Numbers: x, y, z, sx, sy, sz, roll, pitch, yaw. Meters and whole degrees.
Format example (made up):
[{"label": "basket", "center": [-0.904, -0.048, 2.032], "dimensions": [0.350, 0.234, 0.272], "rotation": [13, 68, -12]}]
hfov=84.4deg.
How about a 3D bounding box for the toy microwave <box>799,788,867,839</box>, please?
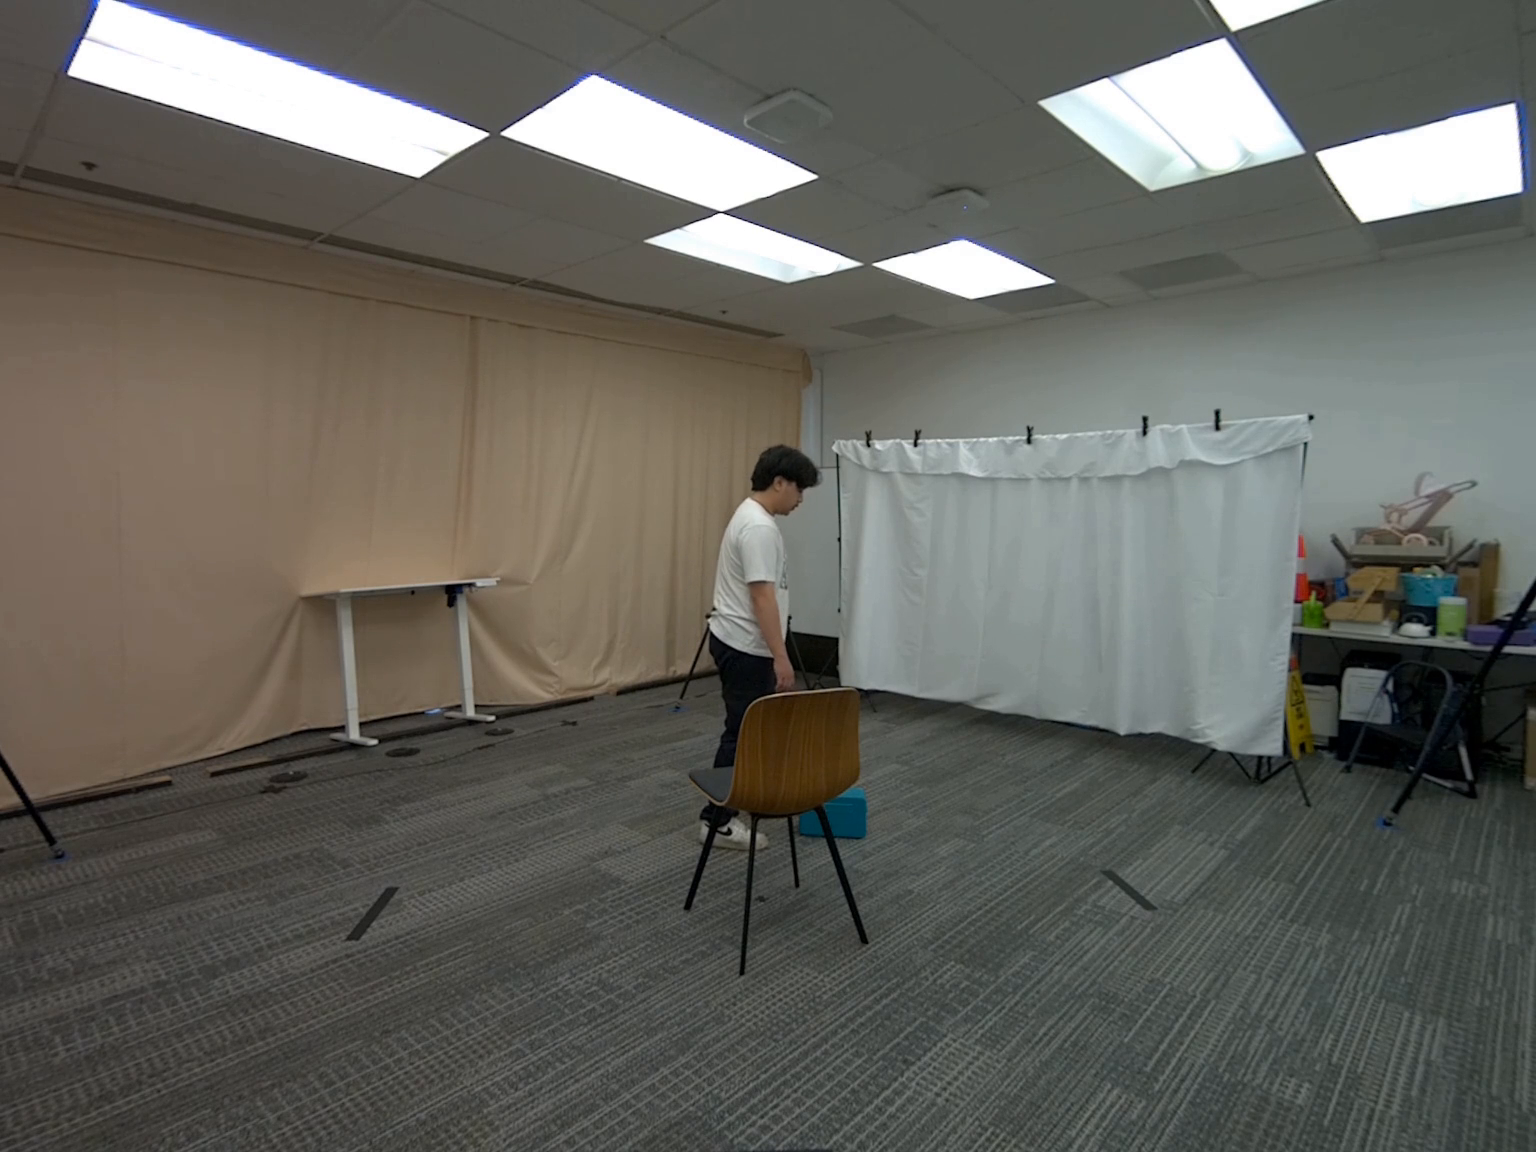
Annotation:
[{"label": "toy microwave", "center": [0.276, 1.001, 3.589], "dimensions": [0.288, 0.183, 0.152], "rotation": [0, 6, 7]}]
